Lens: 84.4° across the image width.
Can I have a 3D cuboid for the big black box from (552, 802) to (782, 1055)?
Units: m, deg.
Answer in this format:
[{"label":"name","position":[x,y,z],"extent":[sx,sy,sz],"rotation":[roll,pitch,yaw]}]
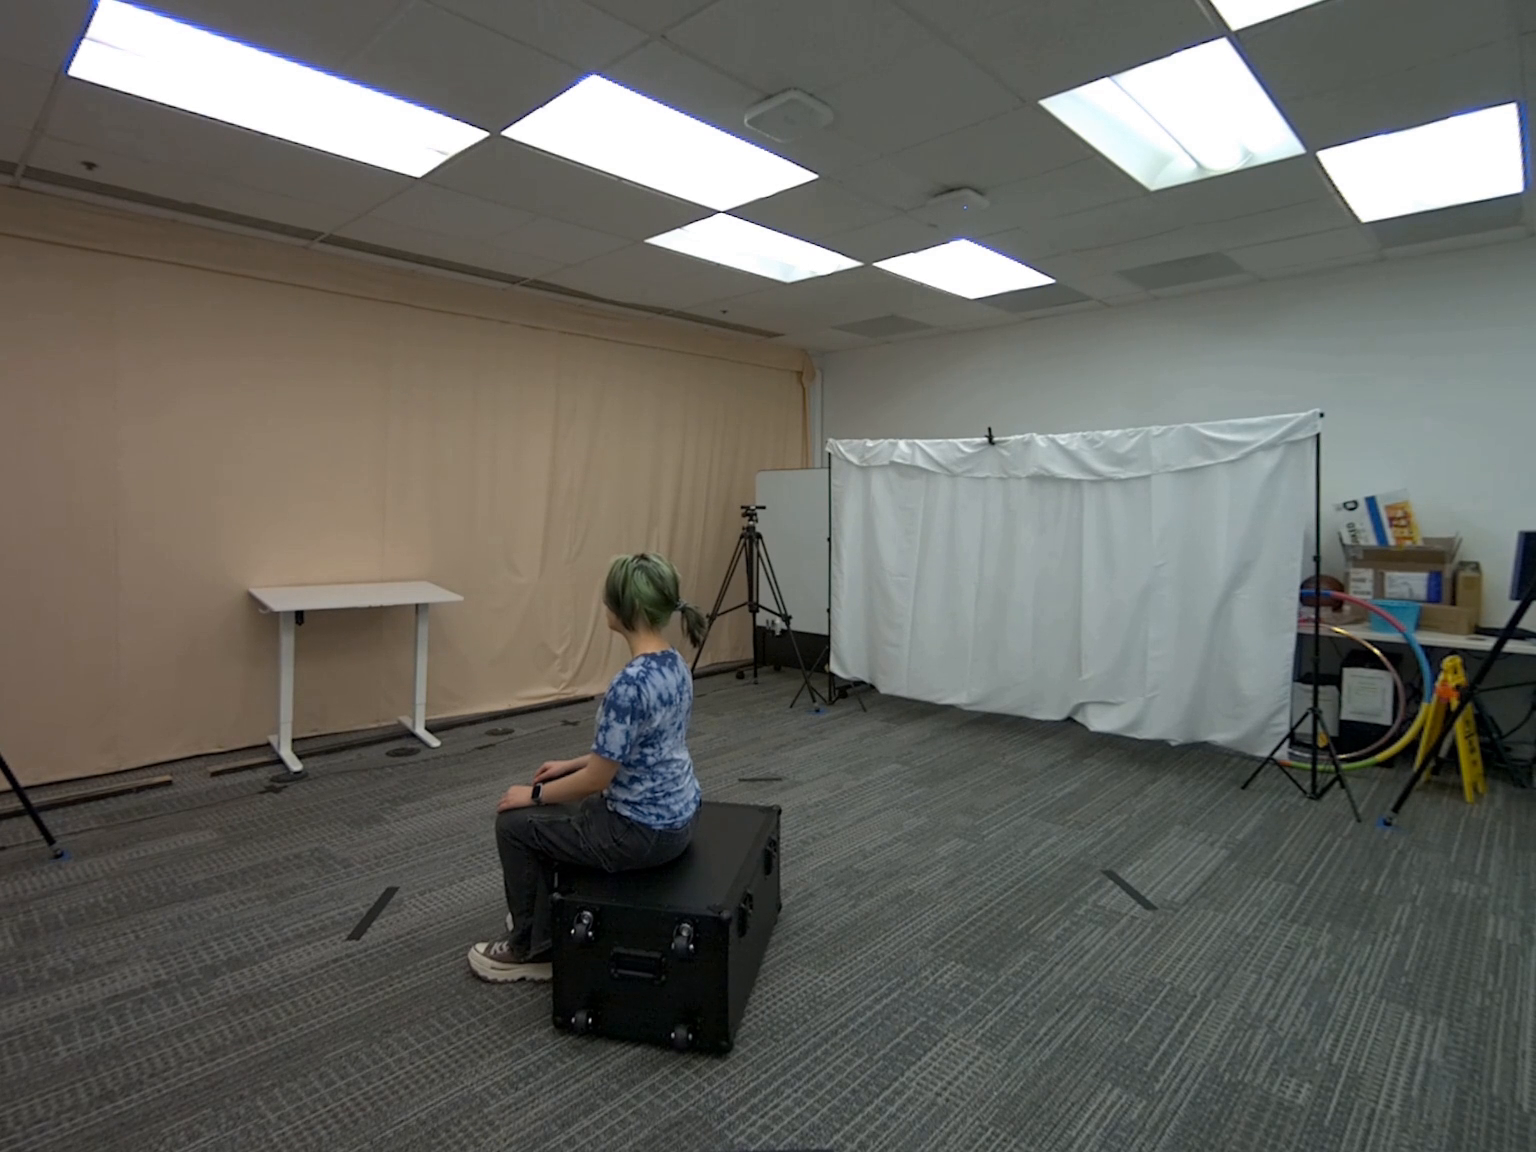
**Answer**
[{"label":"big black box","position":[-0.264,0.996,2.495],"extent":[0.528,0.395,0.852],"rotation":[1,4,11]}]
